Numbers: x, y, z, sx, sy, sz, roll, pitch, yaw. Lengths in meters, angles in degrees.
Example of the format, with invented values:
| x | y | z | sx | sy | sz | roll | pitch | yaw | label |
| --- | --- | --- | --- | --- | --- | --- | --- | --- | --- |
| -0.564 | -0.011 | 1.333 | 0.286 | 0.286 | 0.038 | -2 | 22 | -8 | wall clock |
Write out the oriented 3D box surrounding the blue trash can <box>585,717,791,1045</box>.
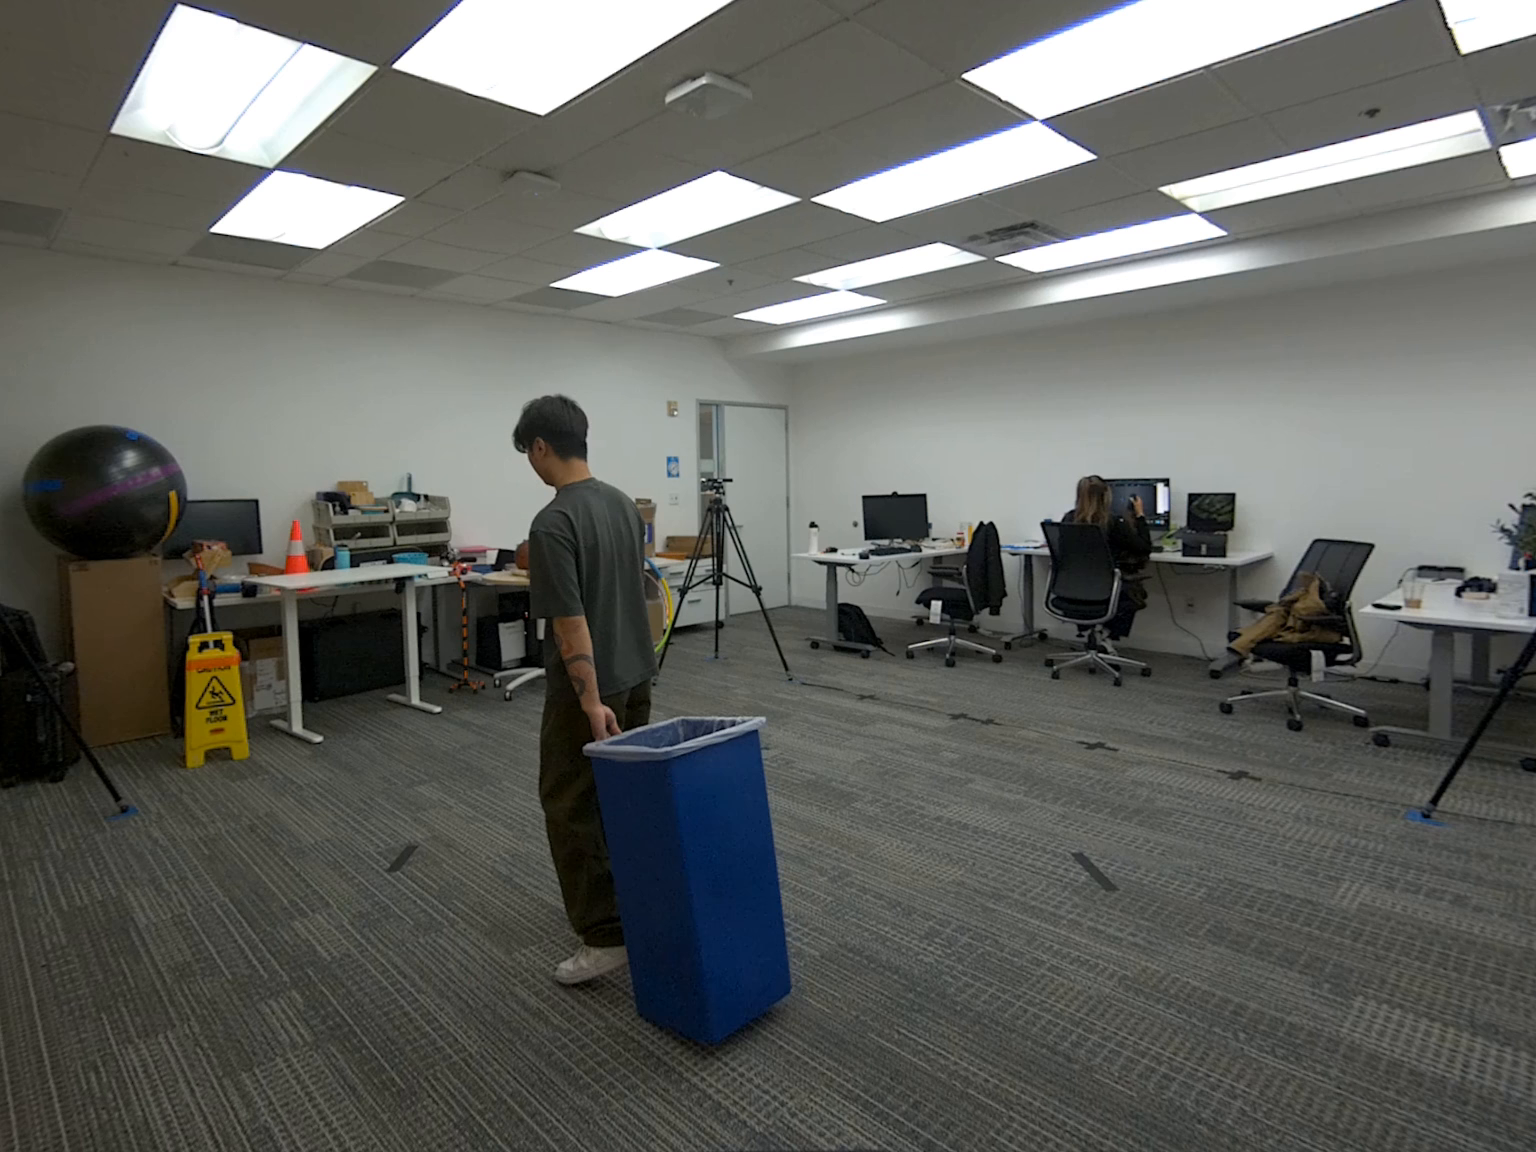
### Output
| x | y | z | sx | sy | sz | roll | pitch | yaw | label |
| --- | --- | --- | --- | --- | --- | --- | --- | --- | --- |
| -0.194 | 0.767 | 2.259 | 0.364 | 0.717 | 0.386 | -5 | -5 | -45 | blue trash can |
